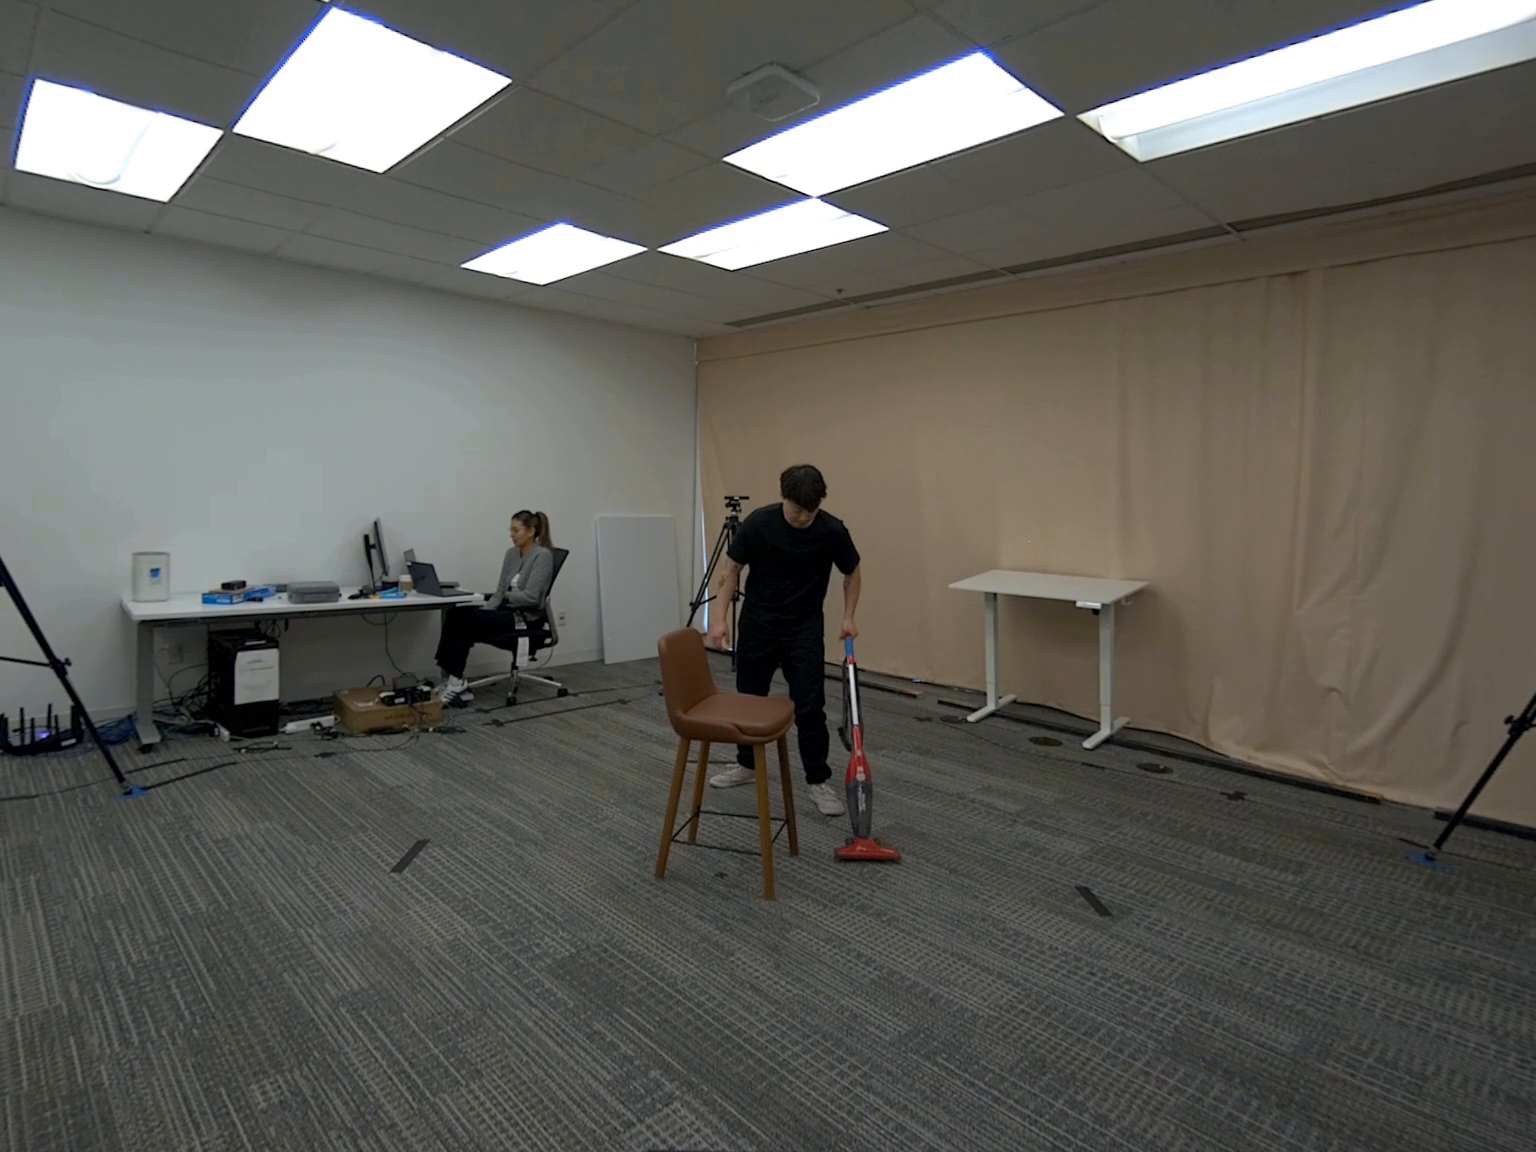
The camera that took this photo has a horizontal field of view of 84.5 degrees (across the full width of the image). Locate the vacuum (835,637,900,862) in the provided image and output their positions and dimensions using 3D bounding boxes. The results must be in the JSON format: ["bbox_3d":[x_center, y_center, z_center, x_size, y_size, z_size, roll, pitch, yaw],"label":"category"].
[{"bbox_3d":[0.366,0.669,3.622,0.252,1.072,0.141,0,-38,-2],"label":"vacuum"}]
